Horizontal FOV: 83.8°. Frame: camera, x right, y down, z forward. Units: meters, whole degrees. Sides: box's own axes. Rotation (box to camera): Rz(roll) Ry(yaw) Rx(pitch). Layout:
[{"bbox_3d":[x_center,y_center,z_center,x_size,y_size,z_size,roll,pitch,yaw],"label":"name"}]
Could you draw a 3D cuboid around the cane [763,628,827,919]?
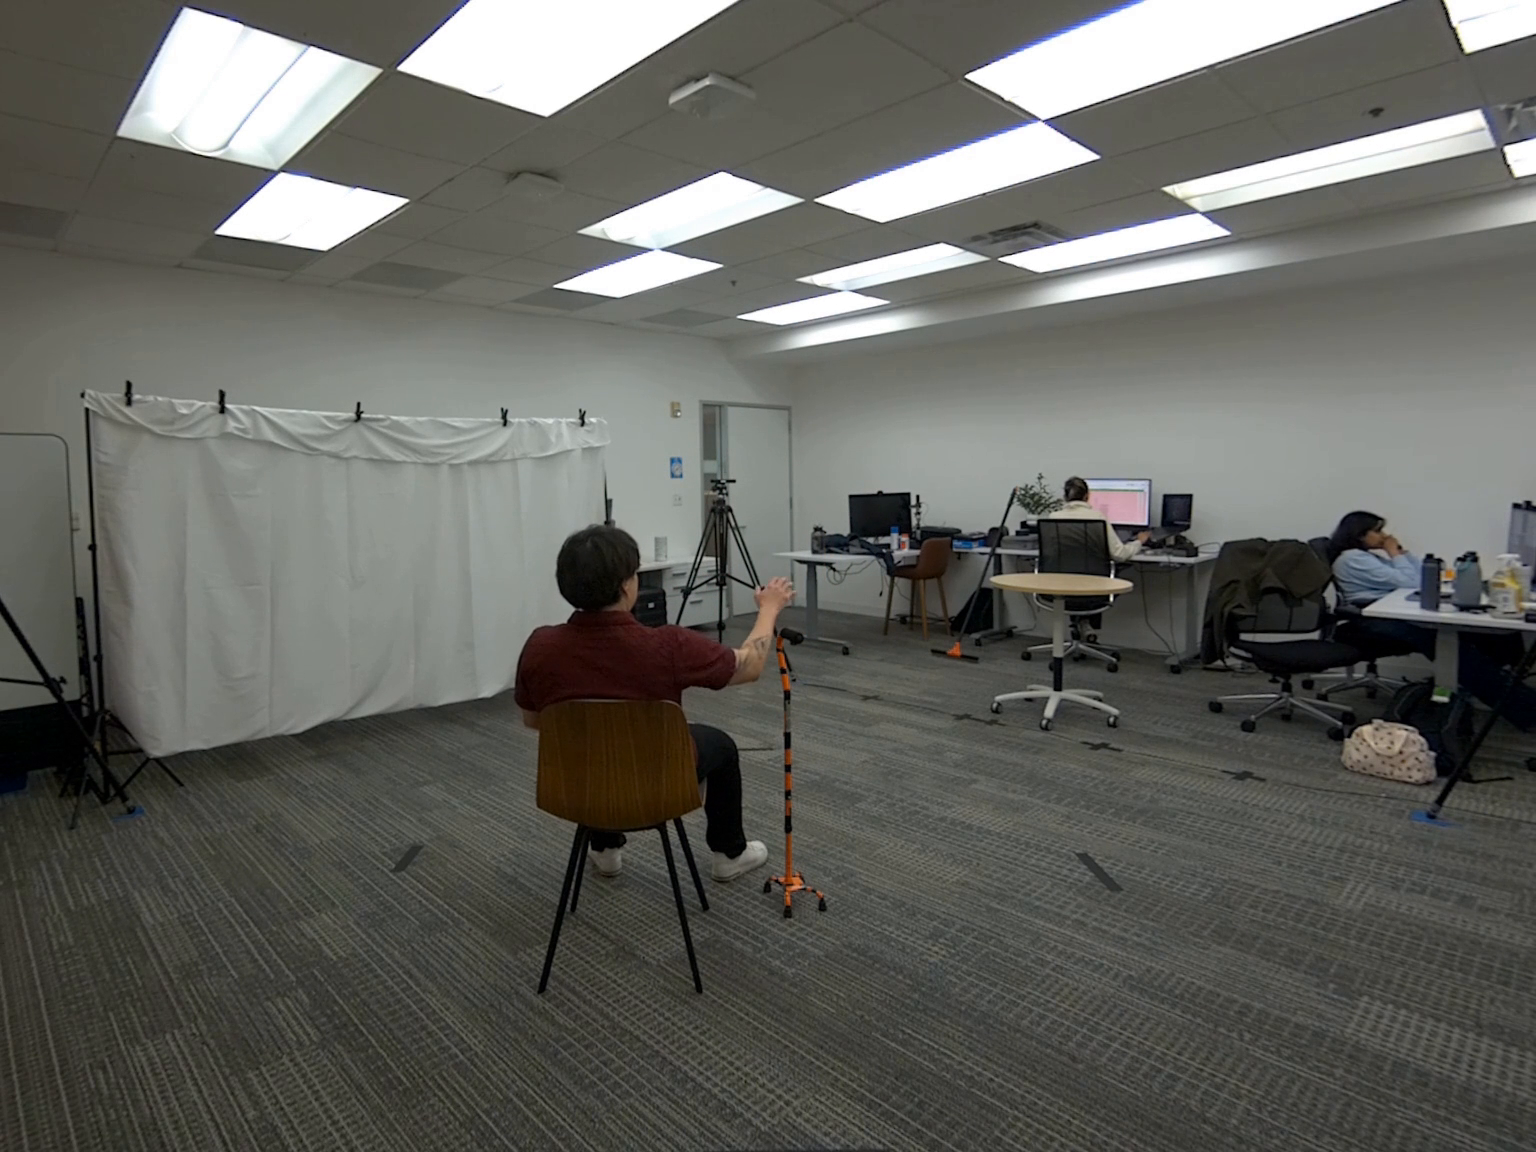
[{"bbox_3d":[0.080,0.620,2.801,0.149,0.905,0.211,-3,4,-23],"label":"cane"}]
